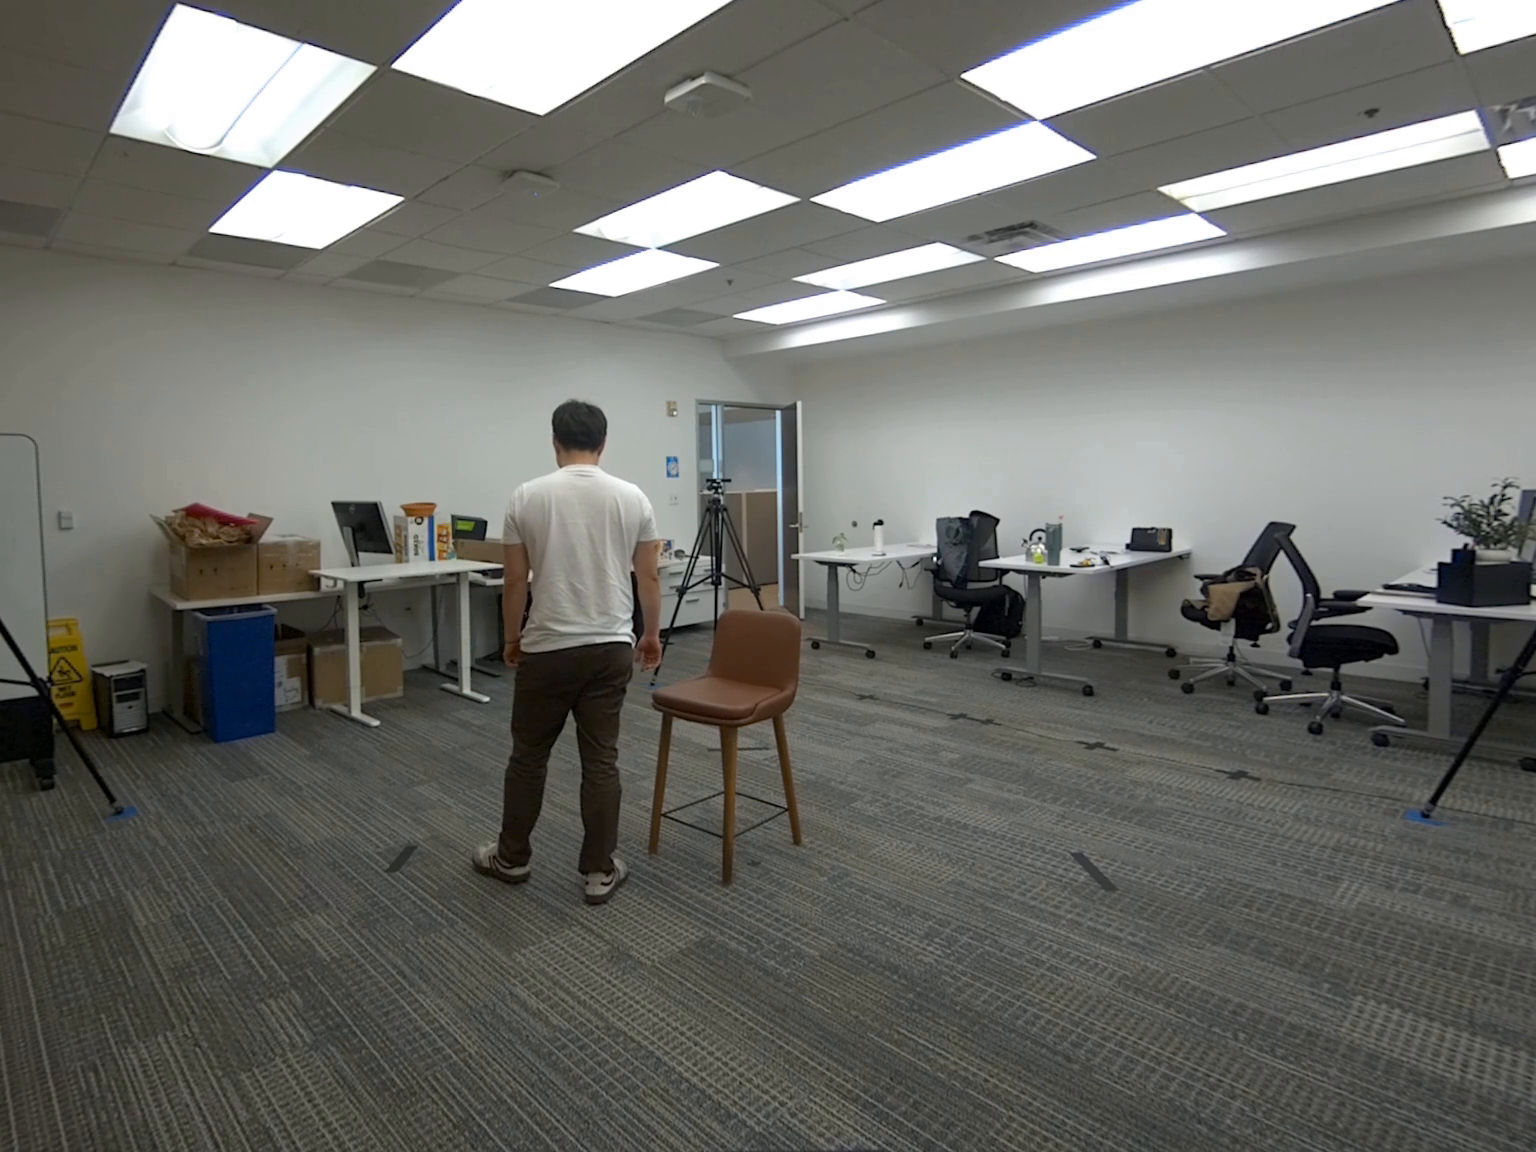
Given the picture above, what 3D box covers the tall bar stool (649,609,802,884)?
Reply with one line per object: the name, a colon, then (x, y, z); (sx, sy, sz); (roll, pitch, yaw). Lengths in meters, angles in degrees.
tall bar stool: (-0.152, 0.598, 3.213); (0.470, 0.888, 0.454); (3, 3, 41)
